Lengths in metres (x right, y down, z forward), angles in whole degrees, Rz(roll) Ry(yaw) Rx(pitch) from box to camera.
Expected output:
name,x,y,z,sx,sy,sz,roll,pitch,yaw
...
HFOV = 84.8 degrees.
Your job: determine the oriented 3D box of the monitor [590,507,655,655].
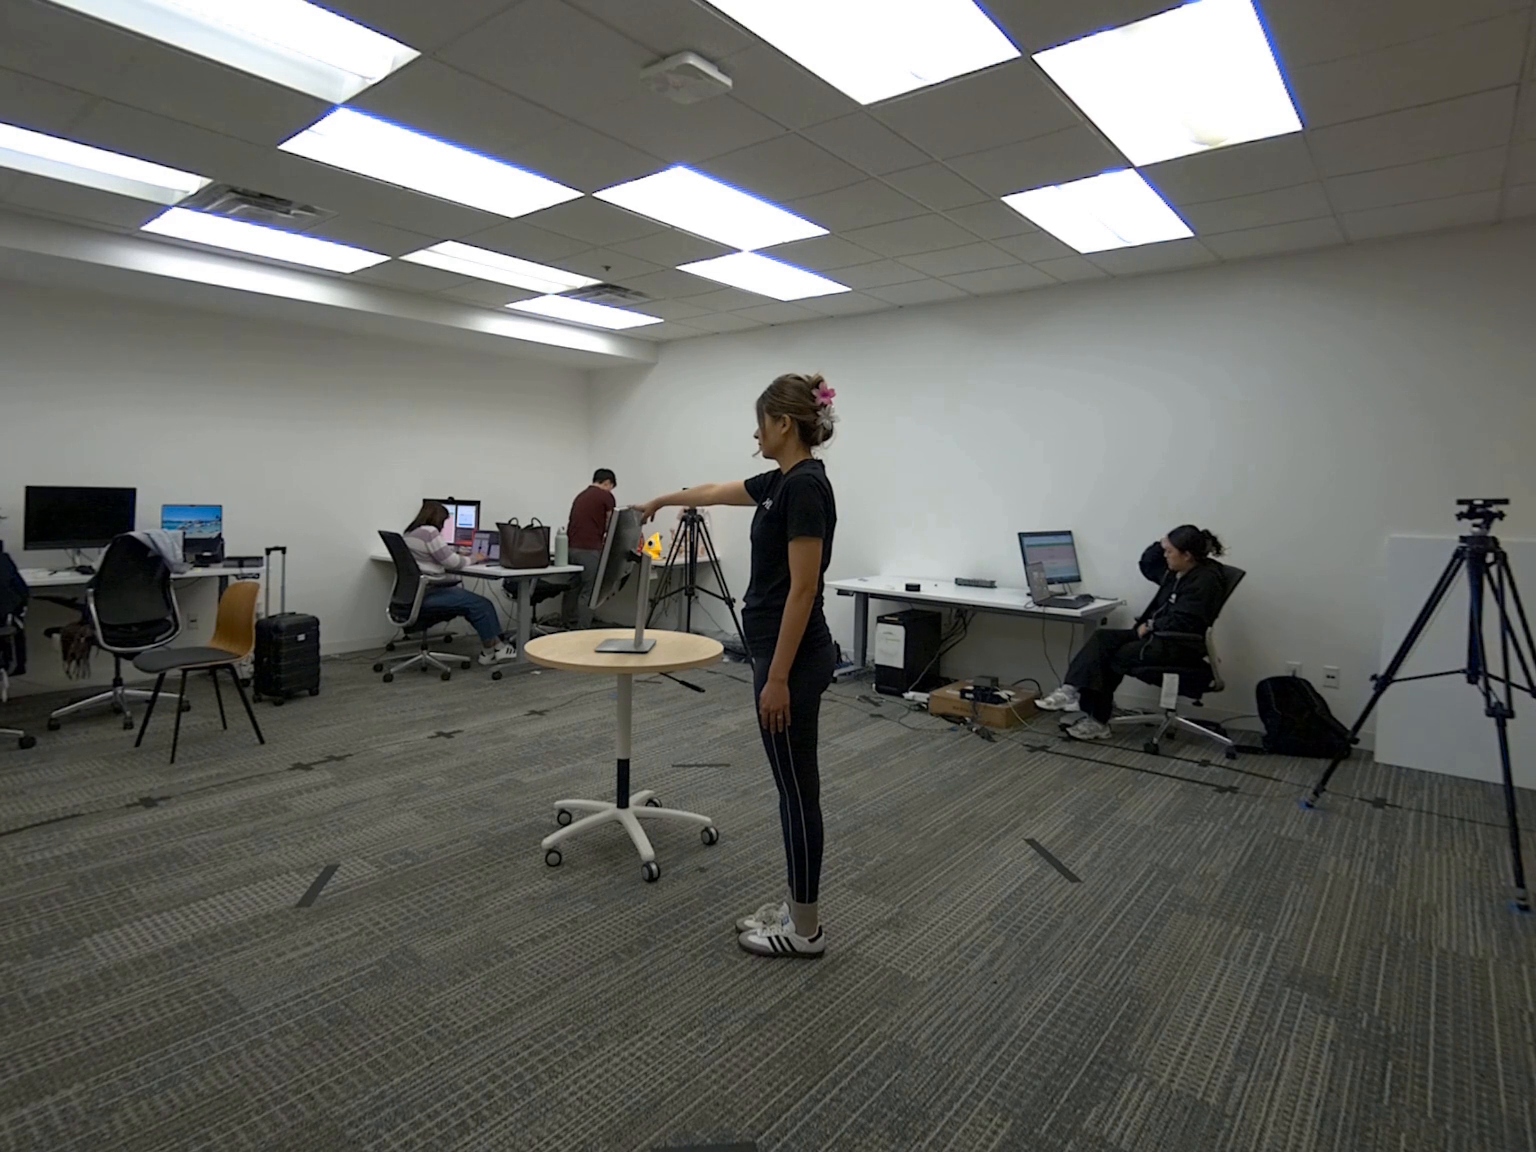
name,x,y,z,sx,sy,sz,roll,pitch,yaw
monitor,-0.544,0.010,3.246,0.187,0.520,0.541,1,5,-1
